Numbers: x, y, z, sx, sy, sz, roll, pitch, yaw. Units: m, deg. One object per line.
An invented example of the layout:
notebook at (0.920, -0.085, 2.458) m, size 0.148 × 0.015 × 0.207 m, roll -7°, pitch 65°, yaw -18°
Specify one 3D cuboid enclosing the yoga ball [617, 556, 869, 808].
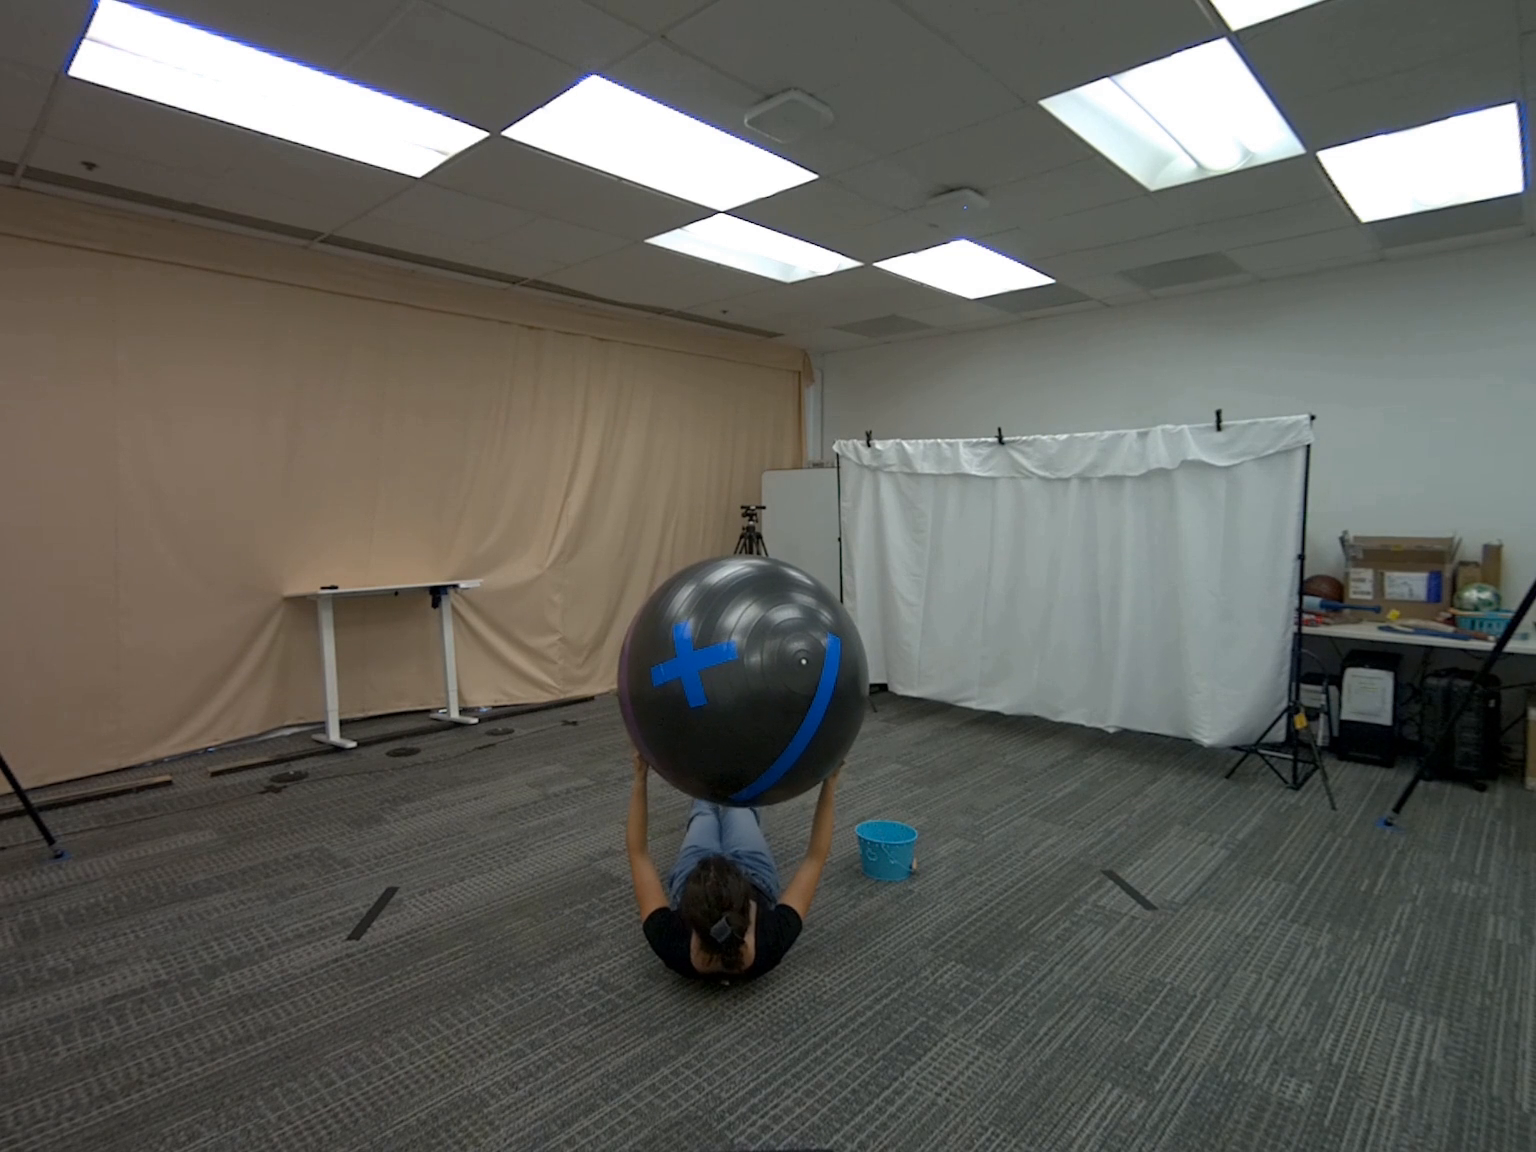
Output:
yoga ball at (-0.079, 0.316, 2.563) m, size 0.757 × 0.756 × 0.760 m, roll 0°, pitch 4°, yaw -2°
